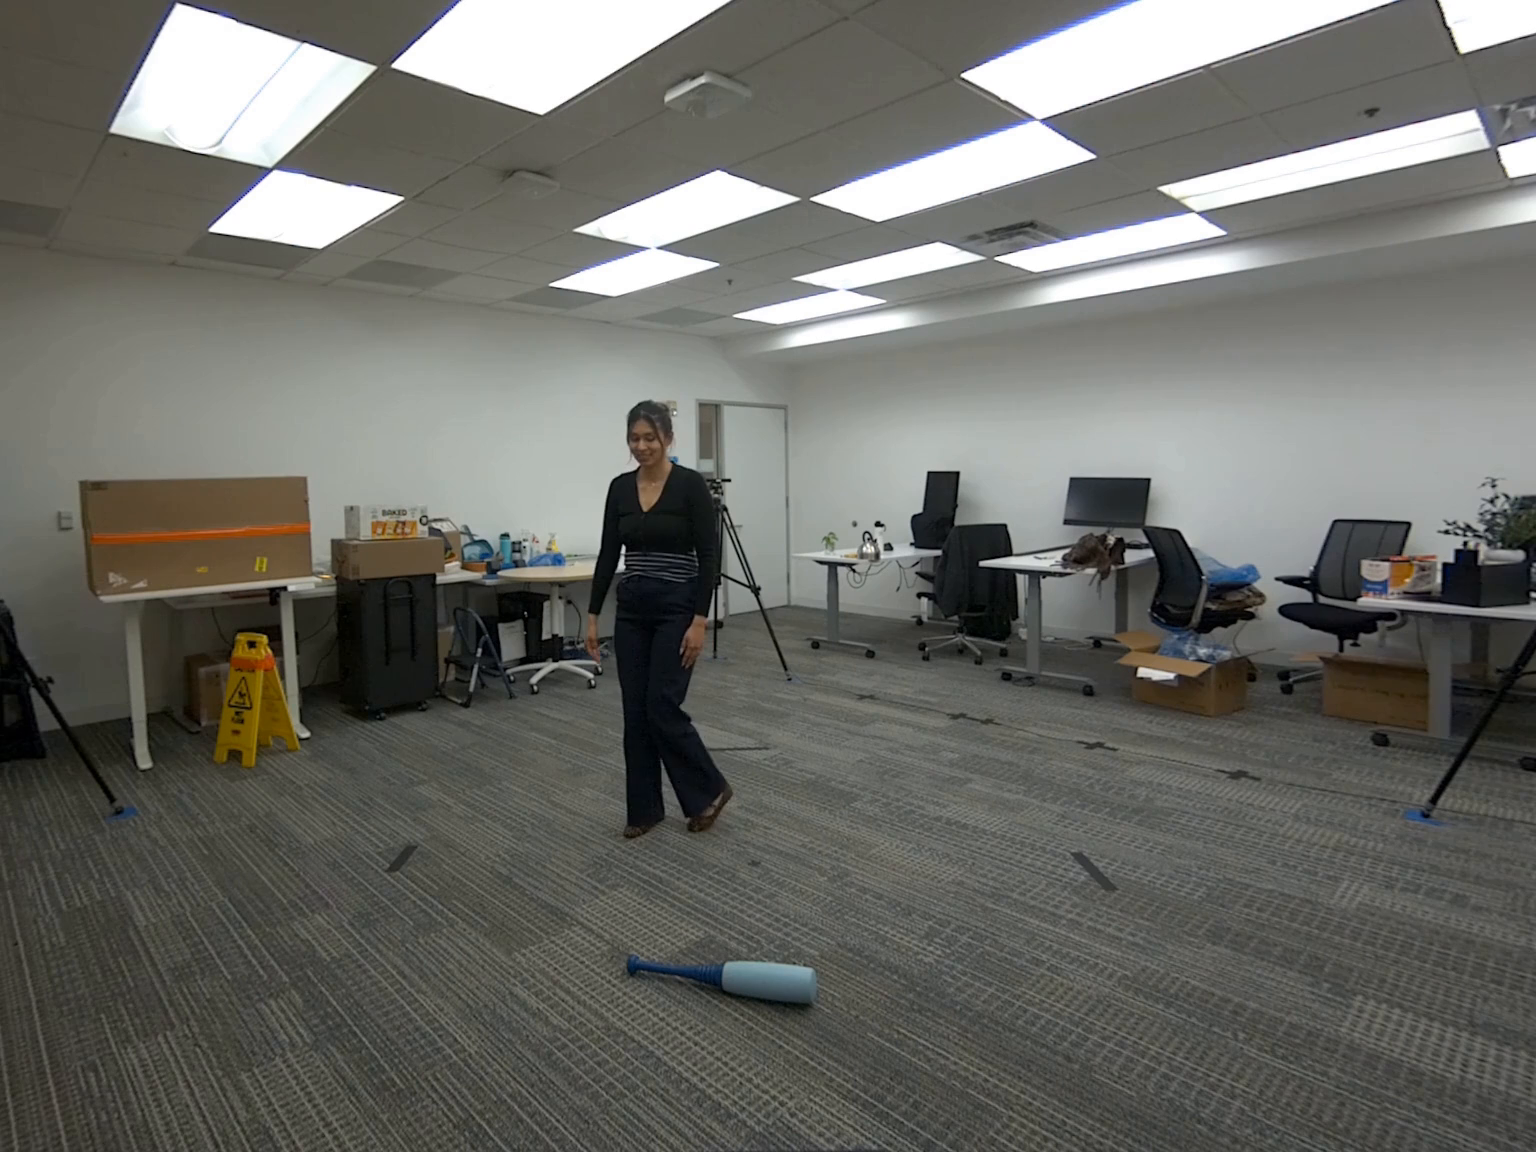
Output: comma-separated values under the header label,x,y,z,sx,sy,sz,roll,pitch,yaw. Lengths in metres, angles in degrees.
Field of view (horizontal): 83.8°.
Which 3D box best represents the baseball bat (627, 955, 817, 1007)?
label,x,y,z,sx,sy,sz,roll,pitch,yaw
baseball bat,-0.131,1.102,2.346,0.551,0.089,0.088,-3,4,17
